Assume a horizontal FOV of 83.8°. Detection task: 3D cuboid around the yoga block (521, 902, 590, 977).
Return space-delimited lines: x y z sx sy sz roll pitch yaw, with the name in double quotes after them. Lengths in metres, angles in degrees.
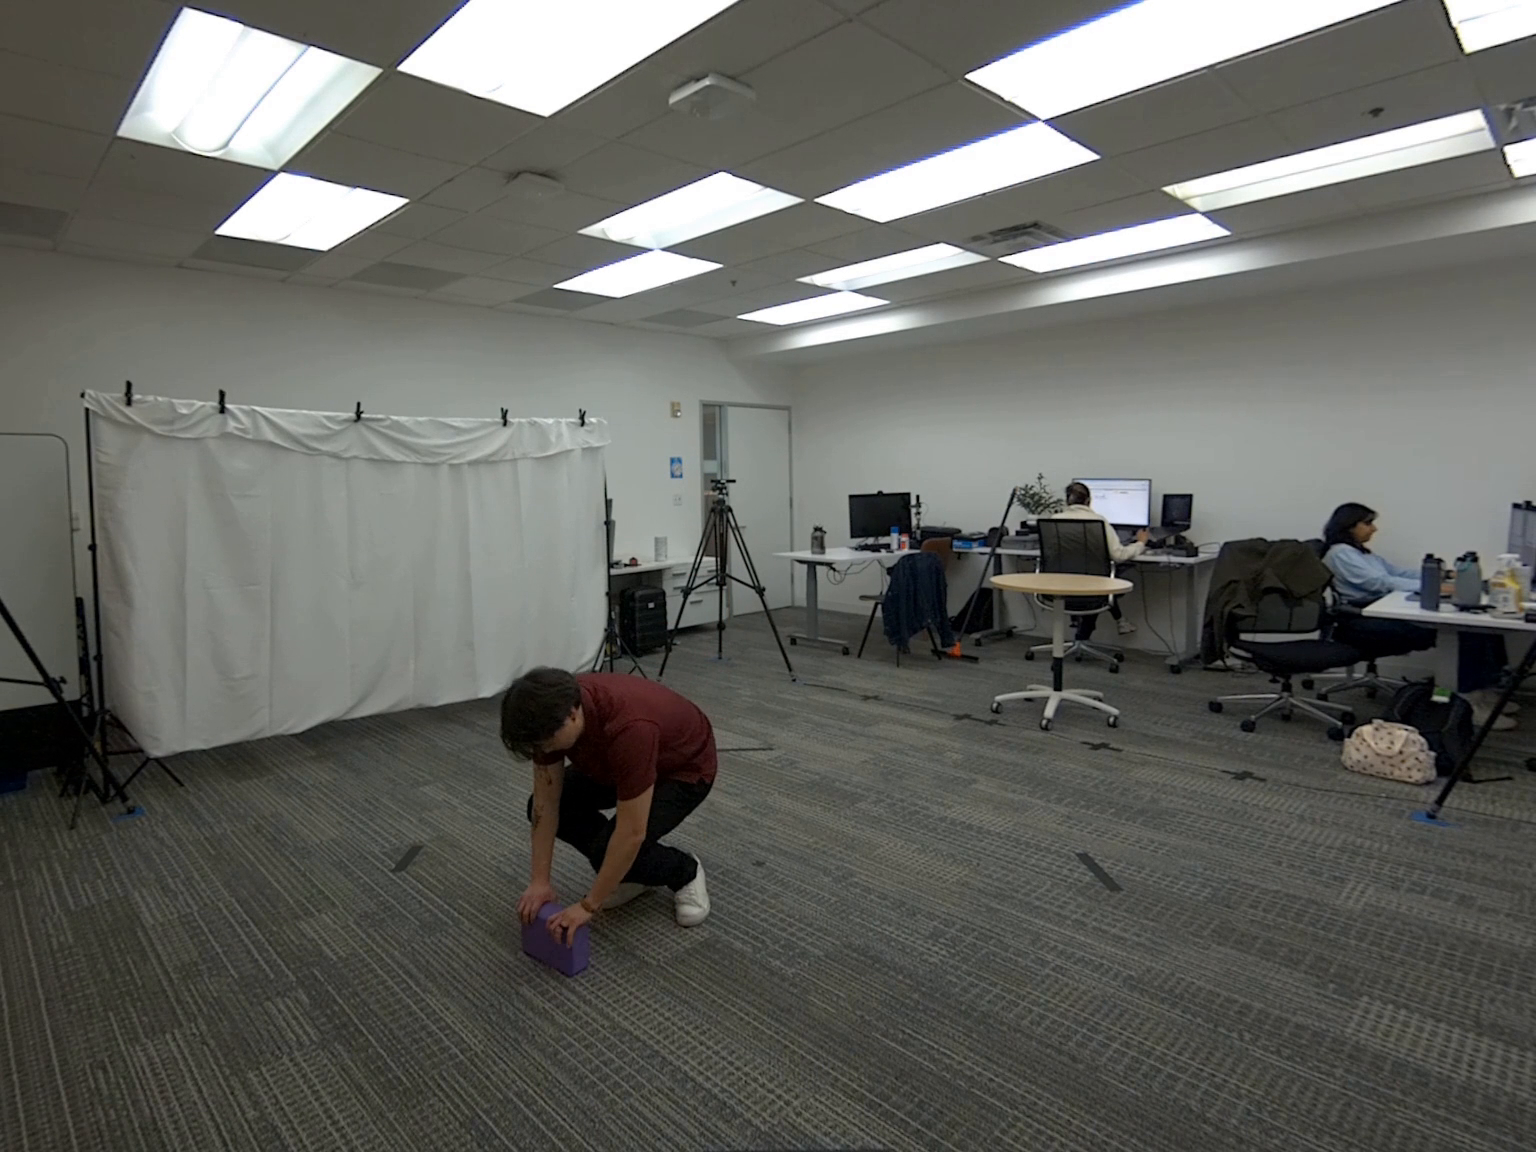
-0.621 1.057 2.507 0.236 0.148 0.074 5 6 38 "yoga block"
